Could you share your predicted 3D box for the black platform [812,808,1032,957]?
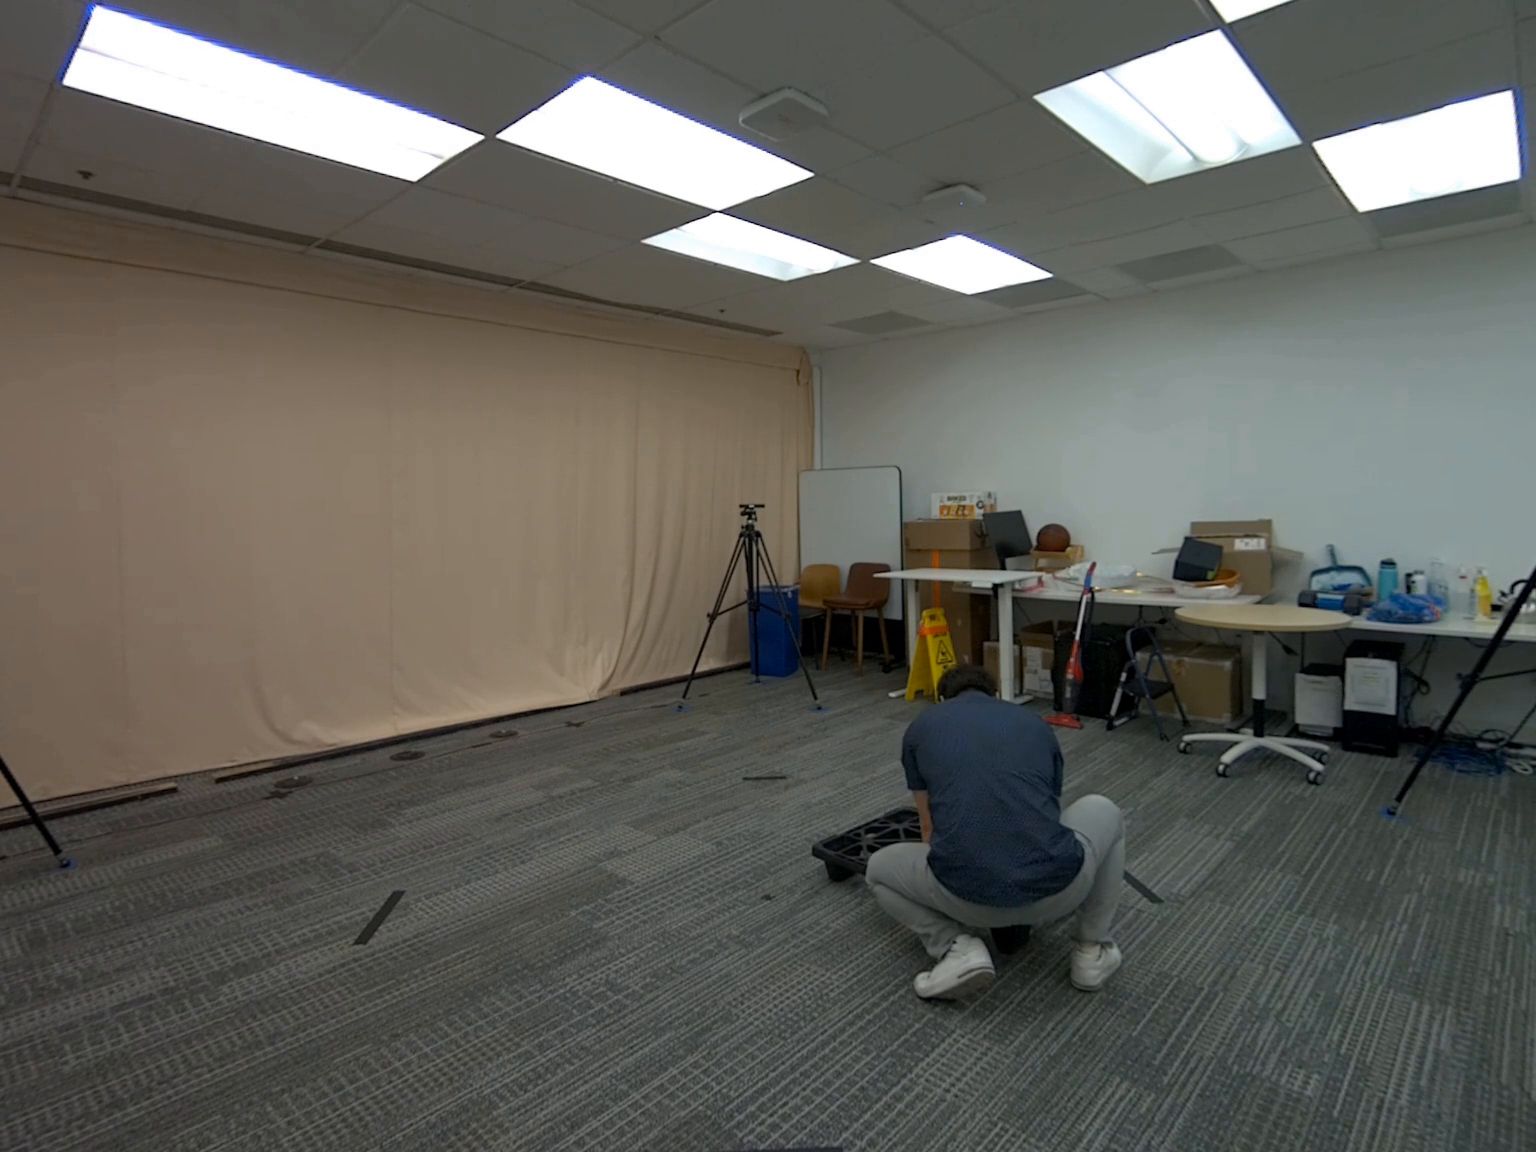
[{"bbox_3d":[0.652,1.058,3.009,0.587,0.143,0.833,-5,7,-44],"label":"black platform"}]
